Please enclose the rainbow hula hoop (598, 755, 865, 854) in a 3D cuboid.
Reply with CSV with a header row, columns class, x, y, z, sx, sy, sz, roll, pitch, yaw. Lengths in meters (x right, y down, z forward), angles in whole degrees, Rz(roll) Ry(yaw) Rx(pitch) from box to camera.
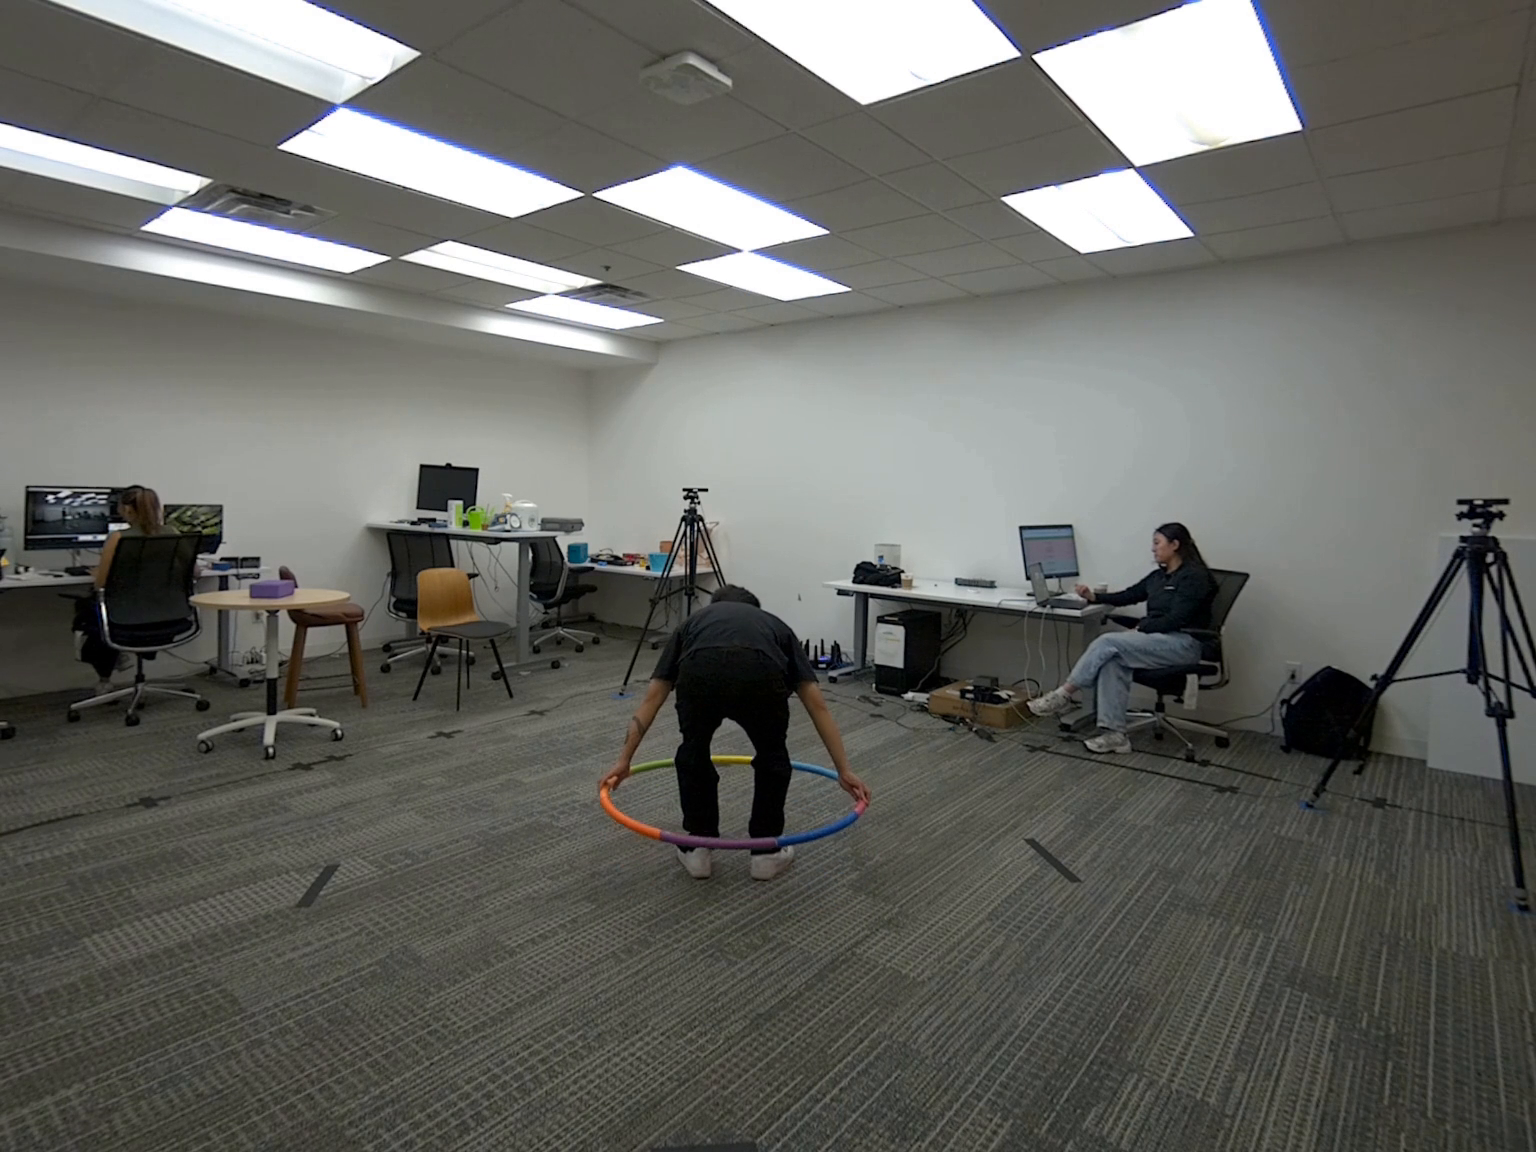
class,x,y,z,sx,sy,sz,roll,pitch,yaw
rainbow hula hoop,-0.140,0.797,3.146,0.978,0.035,0.982,1,4,-2
